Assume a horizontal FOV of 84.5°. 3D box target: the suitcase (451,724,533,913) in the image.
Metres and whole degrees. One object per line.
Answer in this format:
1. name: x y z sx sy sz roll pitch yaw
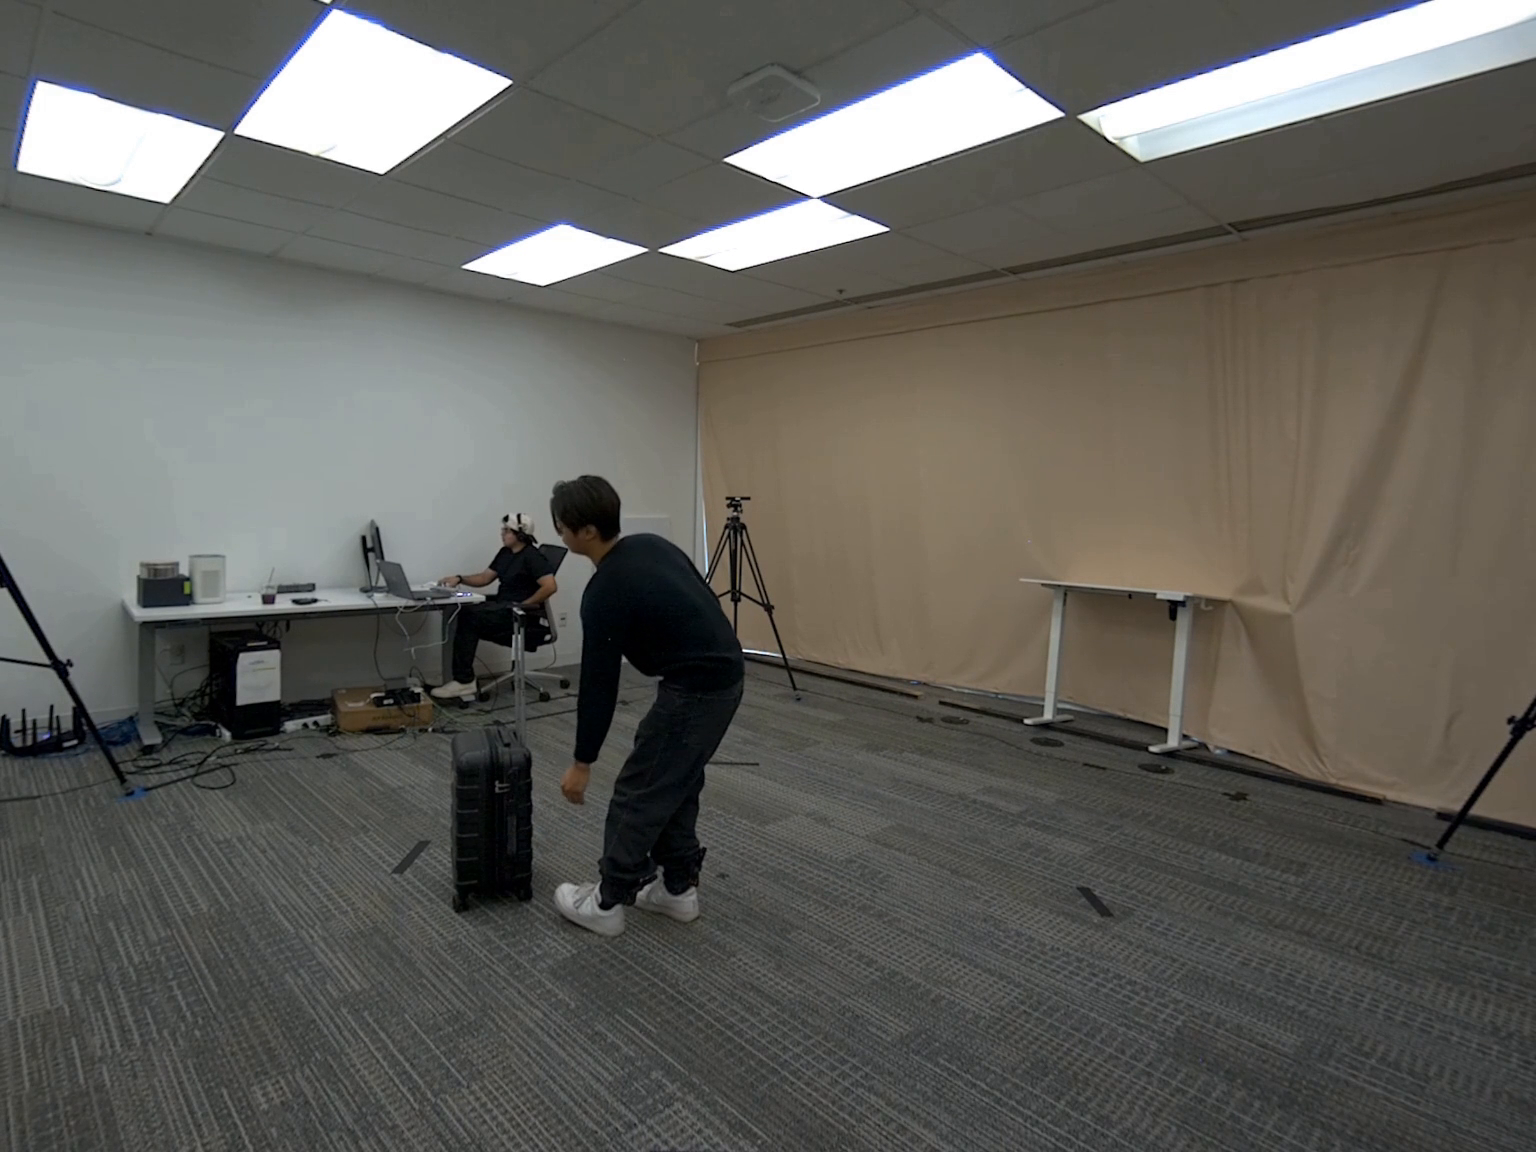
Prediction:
1. suitcase: -0.982 0.630 2.934 0.253 0.975 0.392 -2 6 -24
